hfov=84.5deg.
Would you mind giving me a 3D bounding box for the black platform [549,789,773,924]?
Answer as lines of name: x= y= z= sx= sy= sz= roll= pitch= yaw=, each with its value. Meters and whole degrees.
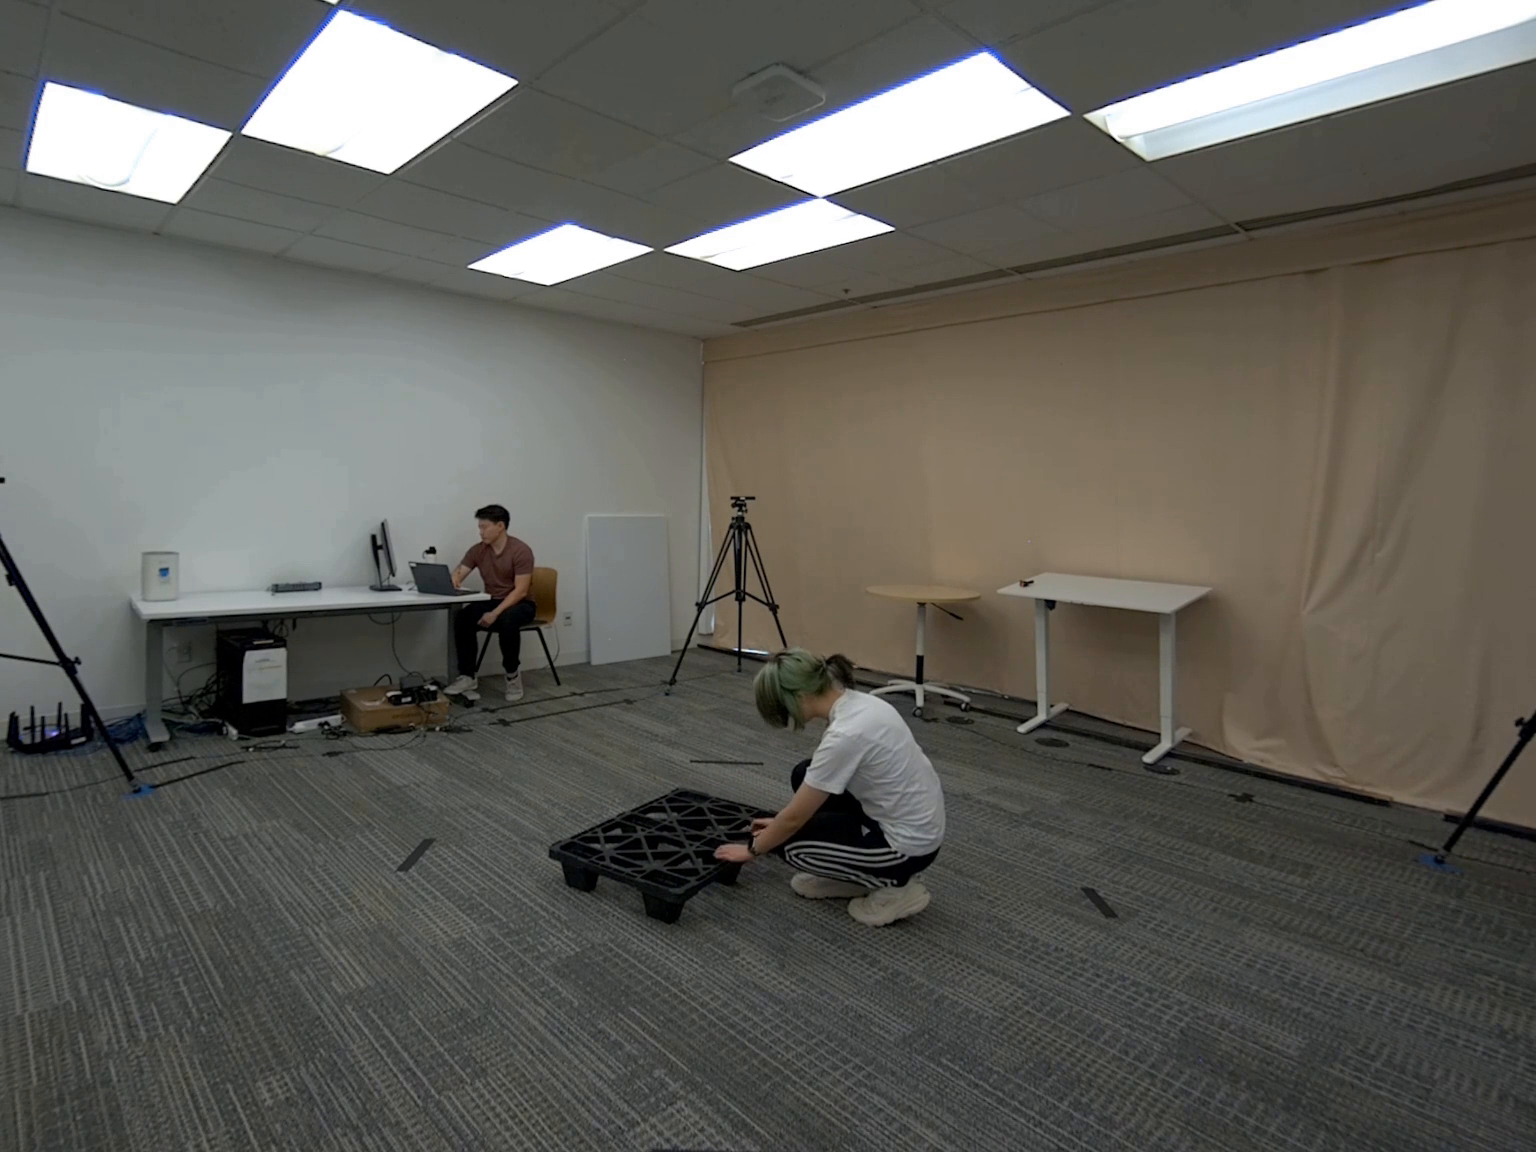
black platform: x=-0.330 y=1.026 z=3.169 sx=0.619 sy=0.143 sz=0.790 roll=5 pitch=7 yaw=32
